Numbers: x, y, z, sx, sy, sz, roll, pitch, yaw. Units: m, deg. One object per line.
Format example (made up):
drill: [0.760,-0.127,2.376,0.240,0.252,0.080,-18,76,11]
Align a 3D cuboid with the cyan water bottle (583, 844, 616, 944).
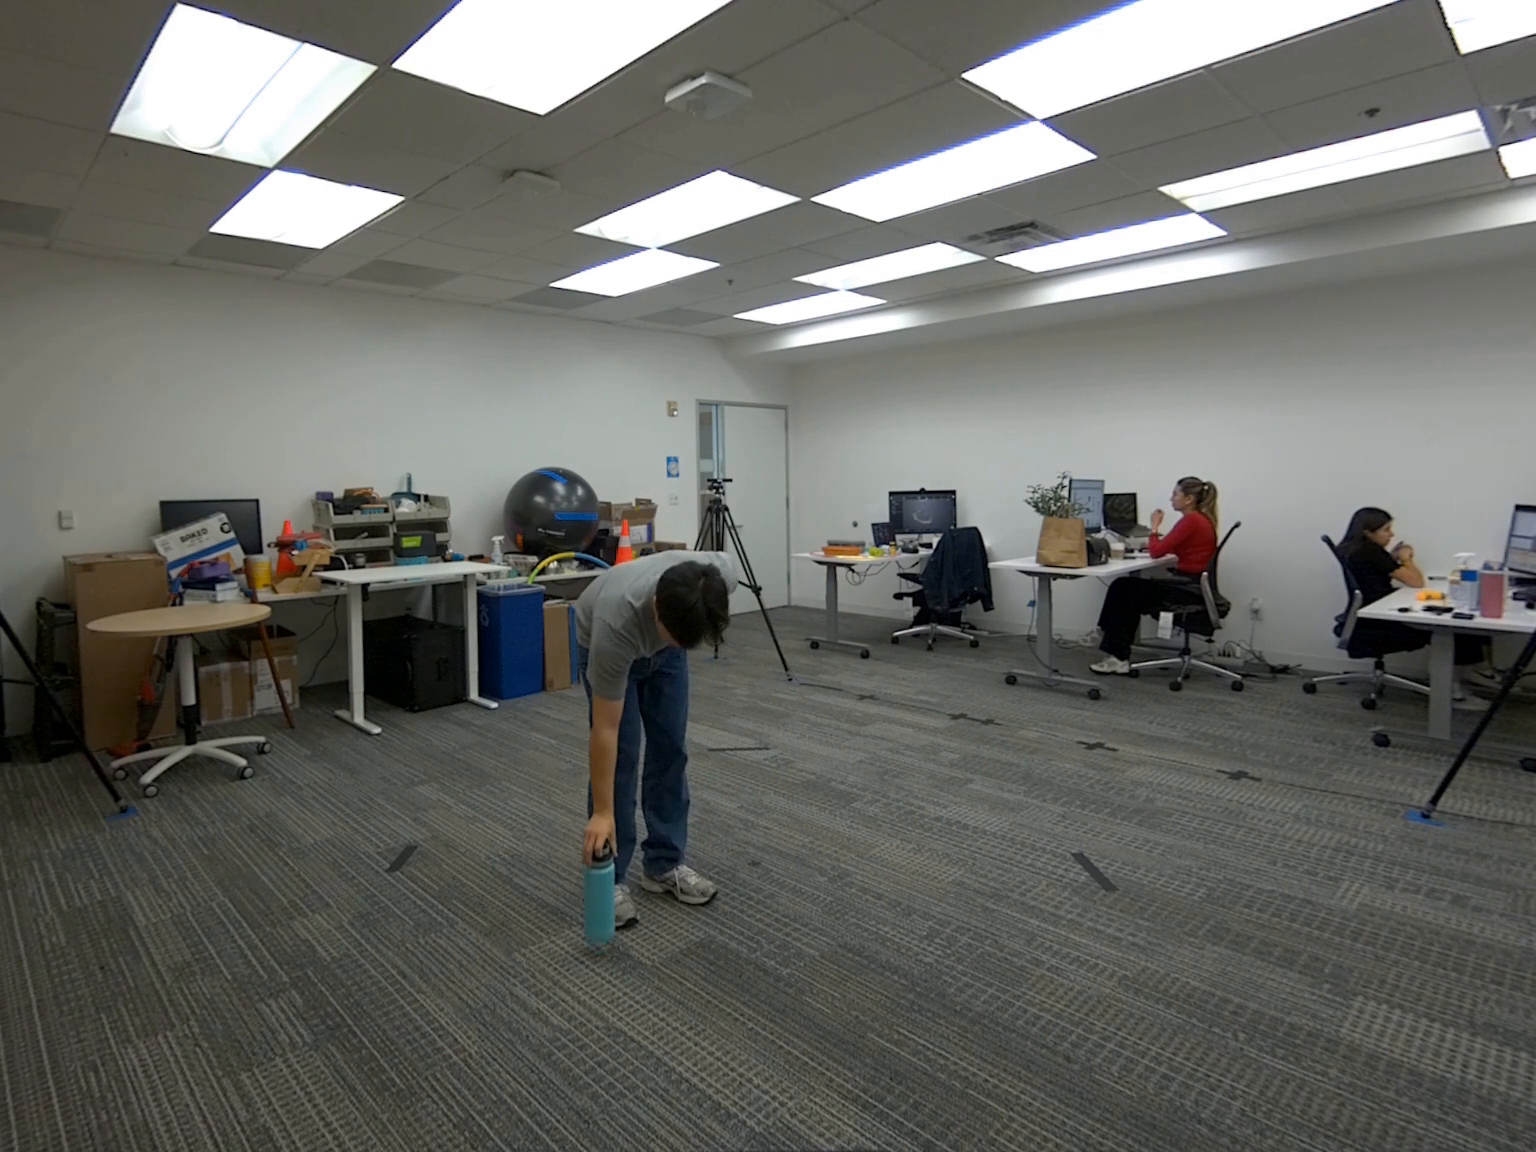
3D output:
cyan water bottle: [-0.502,0.921,2.519,0.092,0.282,0.093,2,7,-2]
